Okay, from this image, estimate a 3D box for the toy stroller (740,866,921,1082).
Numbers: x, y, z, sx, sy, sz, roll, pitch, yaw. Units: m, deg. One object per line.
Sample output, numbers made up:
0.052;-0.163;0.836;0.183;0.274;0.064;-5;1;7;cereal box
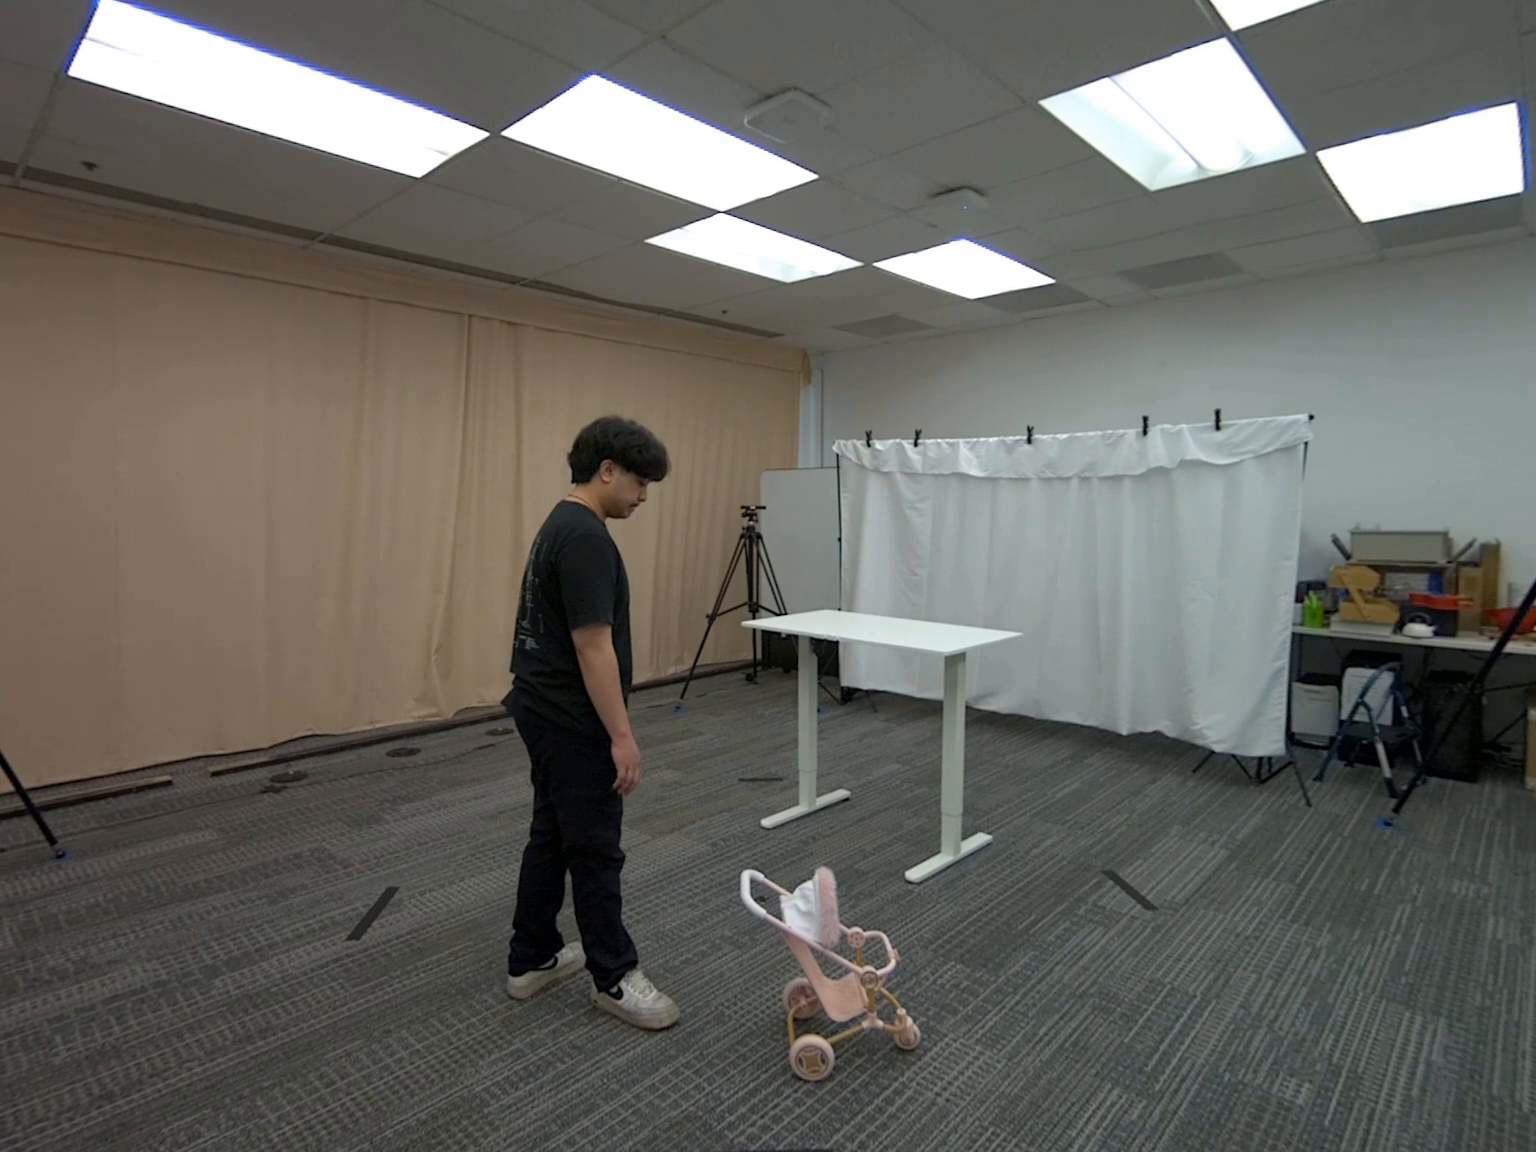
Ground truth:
0.168;0.996;2.138;0.343;0.533;0.281;-15;3;5;toy stroller
